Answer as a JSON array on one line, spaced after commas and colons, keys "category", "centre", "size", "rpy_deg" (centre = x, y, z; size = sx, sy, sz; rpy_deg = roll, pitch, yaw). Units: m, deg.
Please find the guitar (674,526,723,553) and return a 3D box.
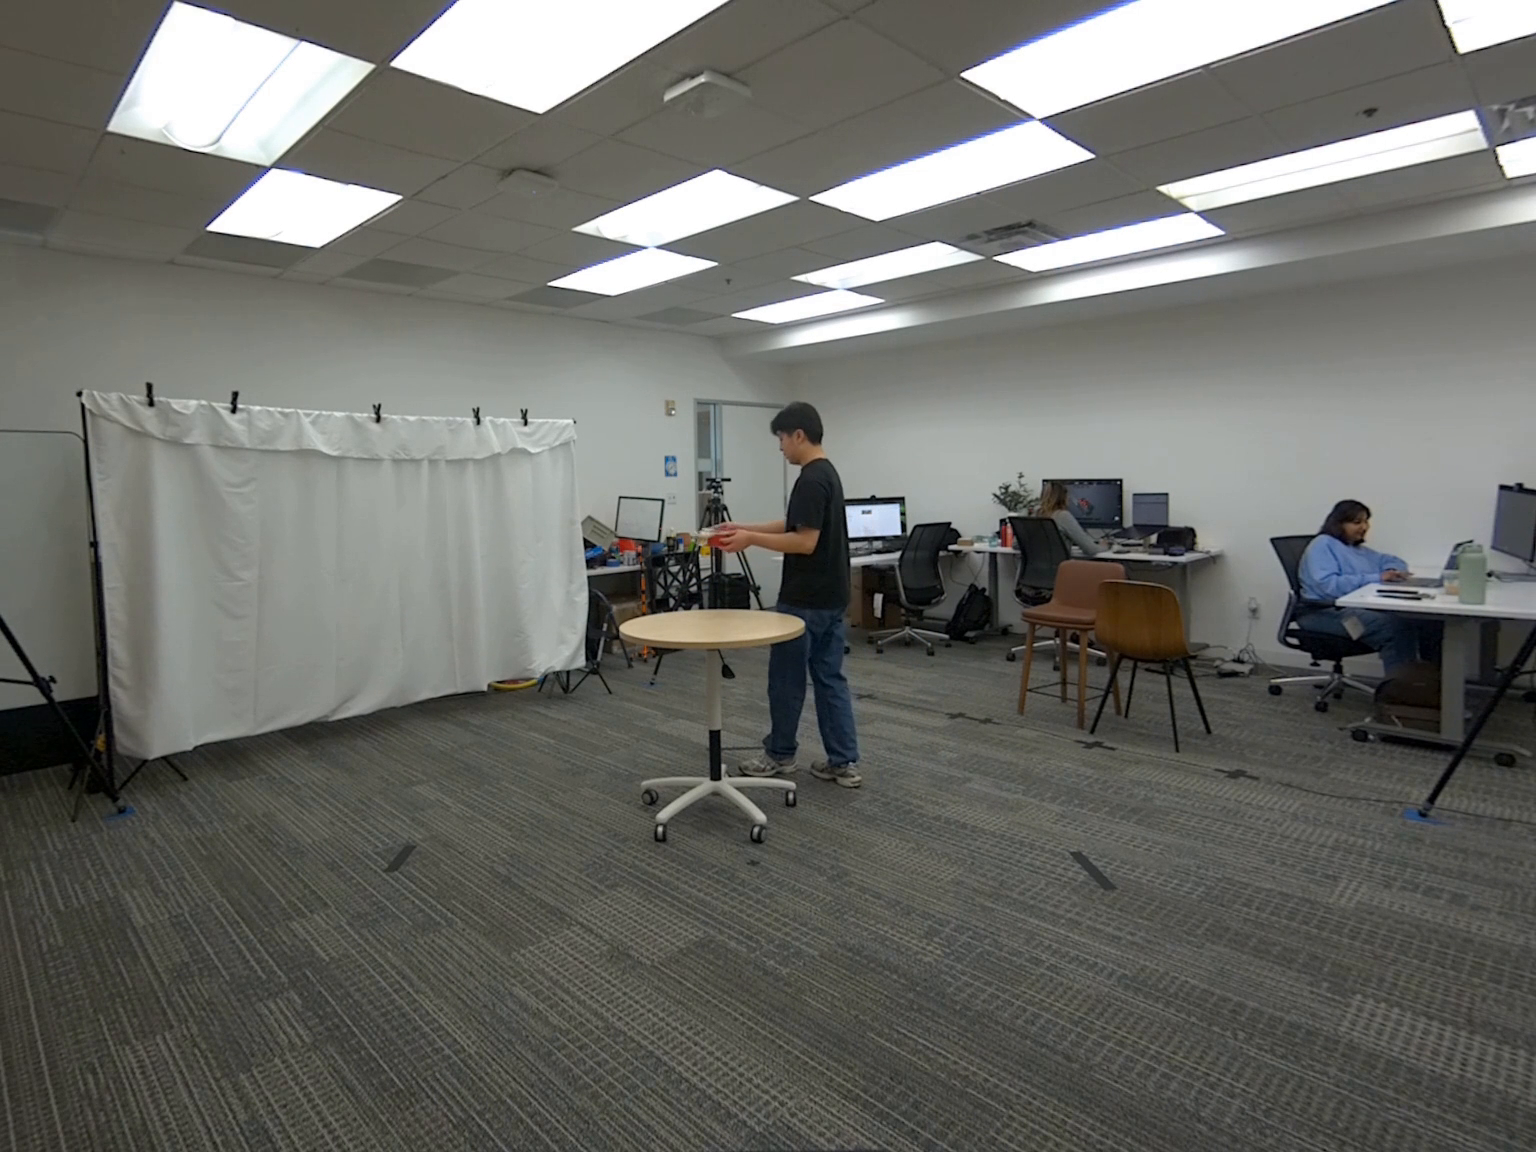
[{"category": "guitar", "centre": [-0.249, -0.171, 3.843], "size": [0.196, 0.070, 0.493], "rpy_deg": [5, 7, 13]}]
